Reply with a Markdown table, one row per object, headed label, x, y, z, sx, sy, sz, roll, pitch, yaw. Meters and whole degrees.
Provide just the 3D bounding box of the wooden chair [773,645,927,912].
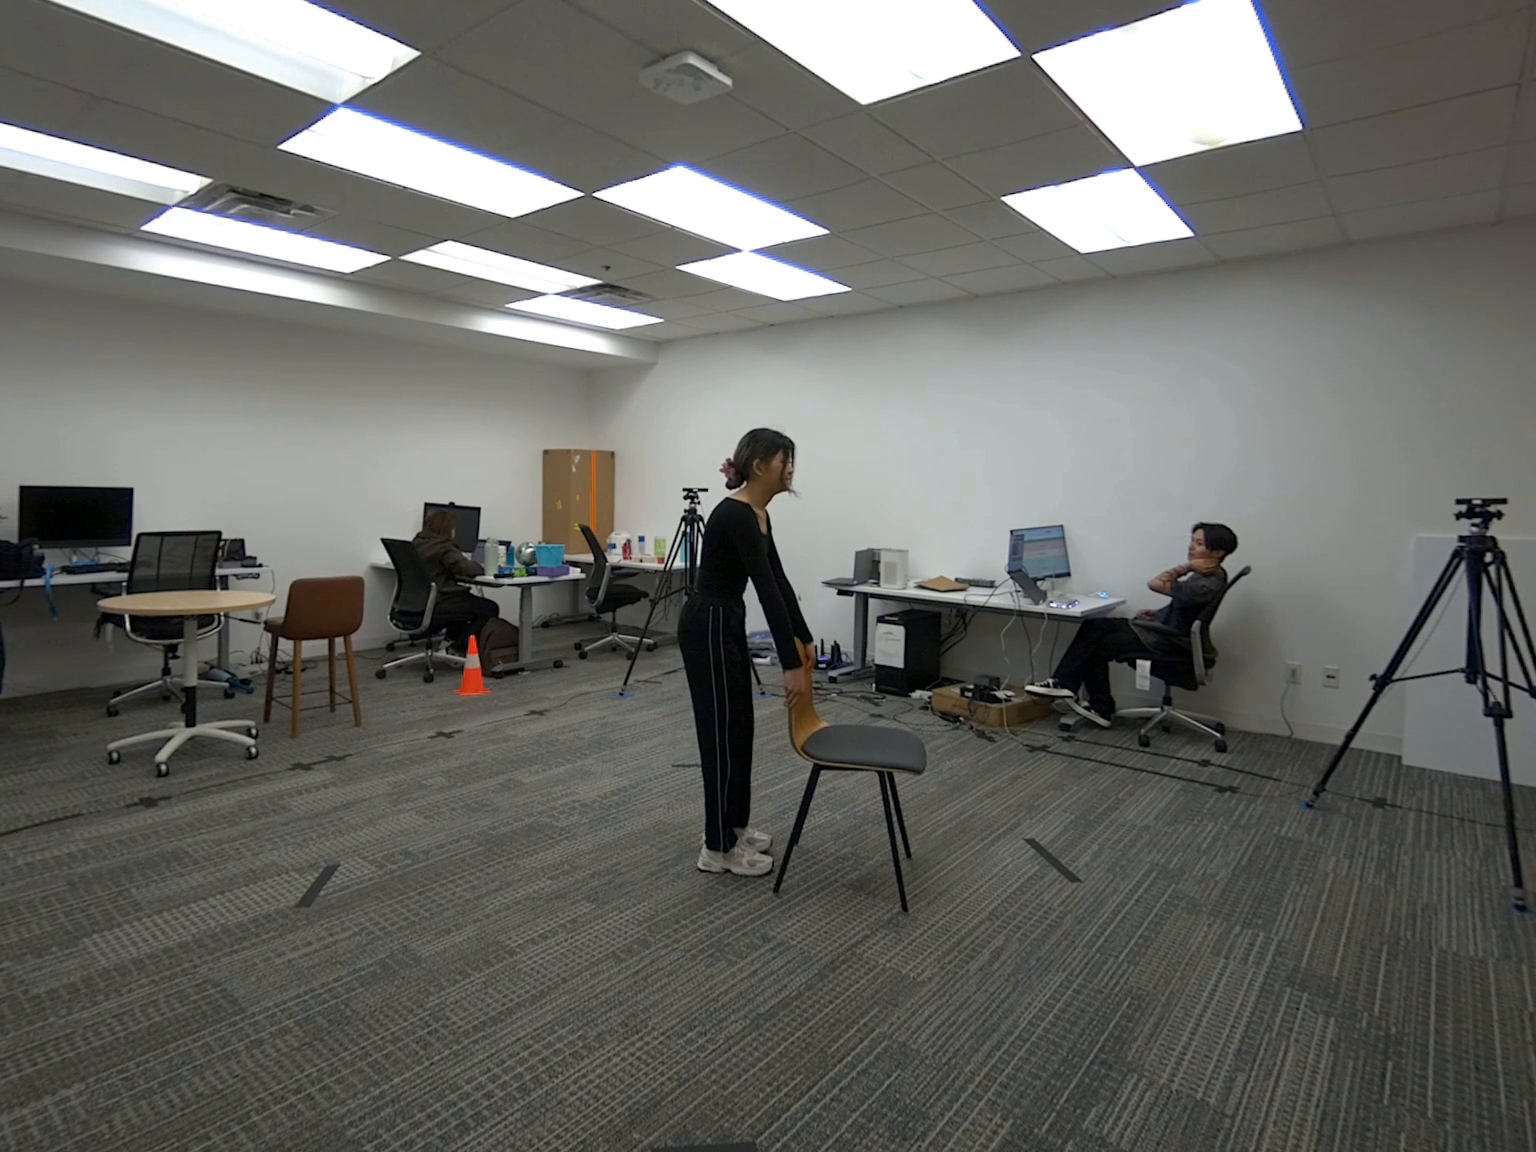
| label | x | y | z | sx | sy | sz | roll | pitch | yaw |
| --- | --- | --- | --- | --- | --- | --- | --- | --- | --- |
| wooden chair | 0.291 | 0.657 | 3.067 | 0.531 | 0.876 | 0.472 | -3 | 2 | 13 |
